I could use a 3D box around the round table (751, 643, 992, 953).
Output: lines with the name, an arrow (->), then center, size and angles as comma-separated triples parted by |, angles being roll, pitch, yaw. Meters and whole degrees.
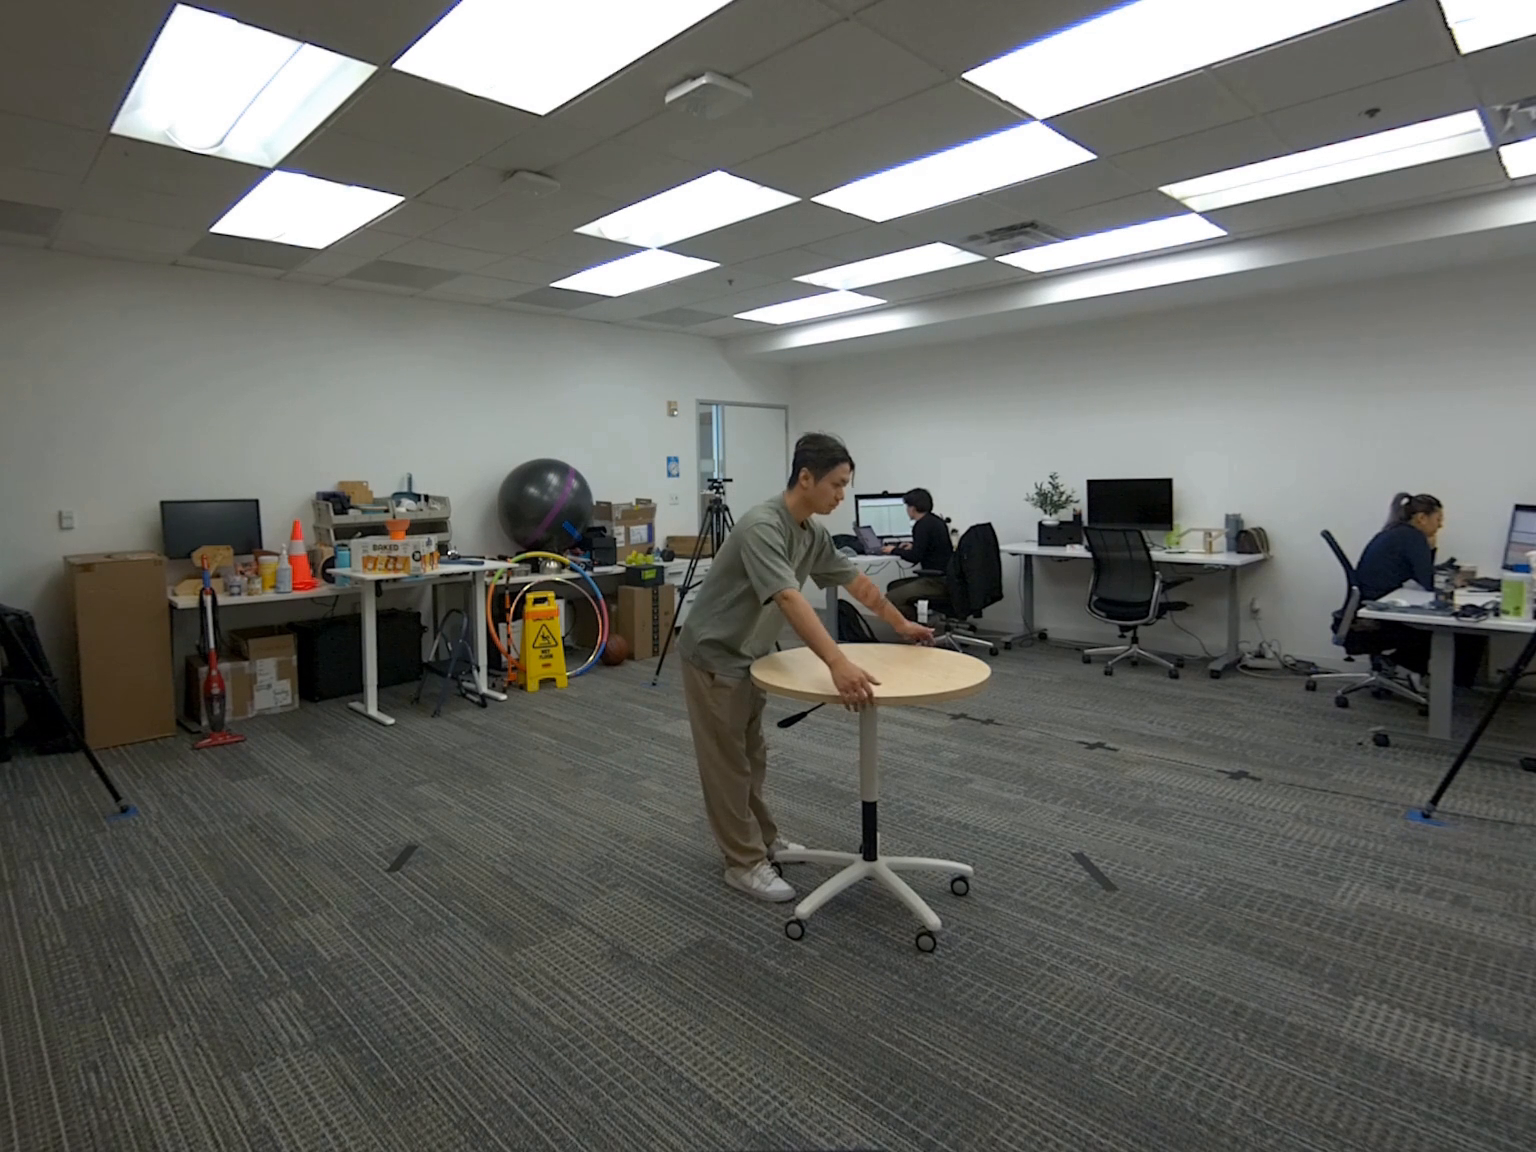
round table -> 0.340, 0.679, 2.809 | 0.784, 0.783, 0.789 | -1, 5, -2
